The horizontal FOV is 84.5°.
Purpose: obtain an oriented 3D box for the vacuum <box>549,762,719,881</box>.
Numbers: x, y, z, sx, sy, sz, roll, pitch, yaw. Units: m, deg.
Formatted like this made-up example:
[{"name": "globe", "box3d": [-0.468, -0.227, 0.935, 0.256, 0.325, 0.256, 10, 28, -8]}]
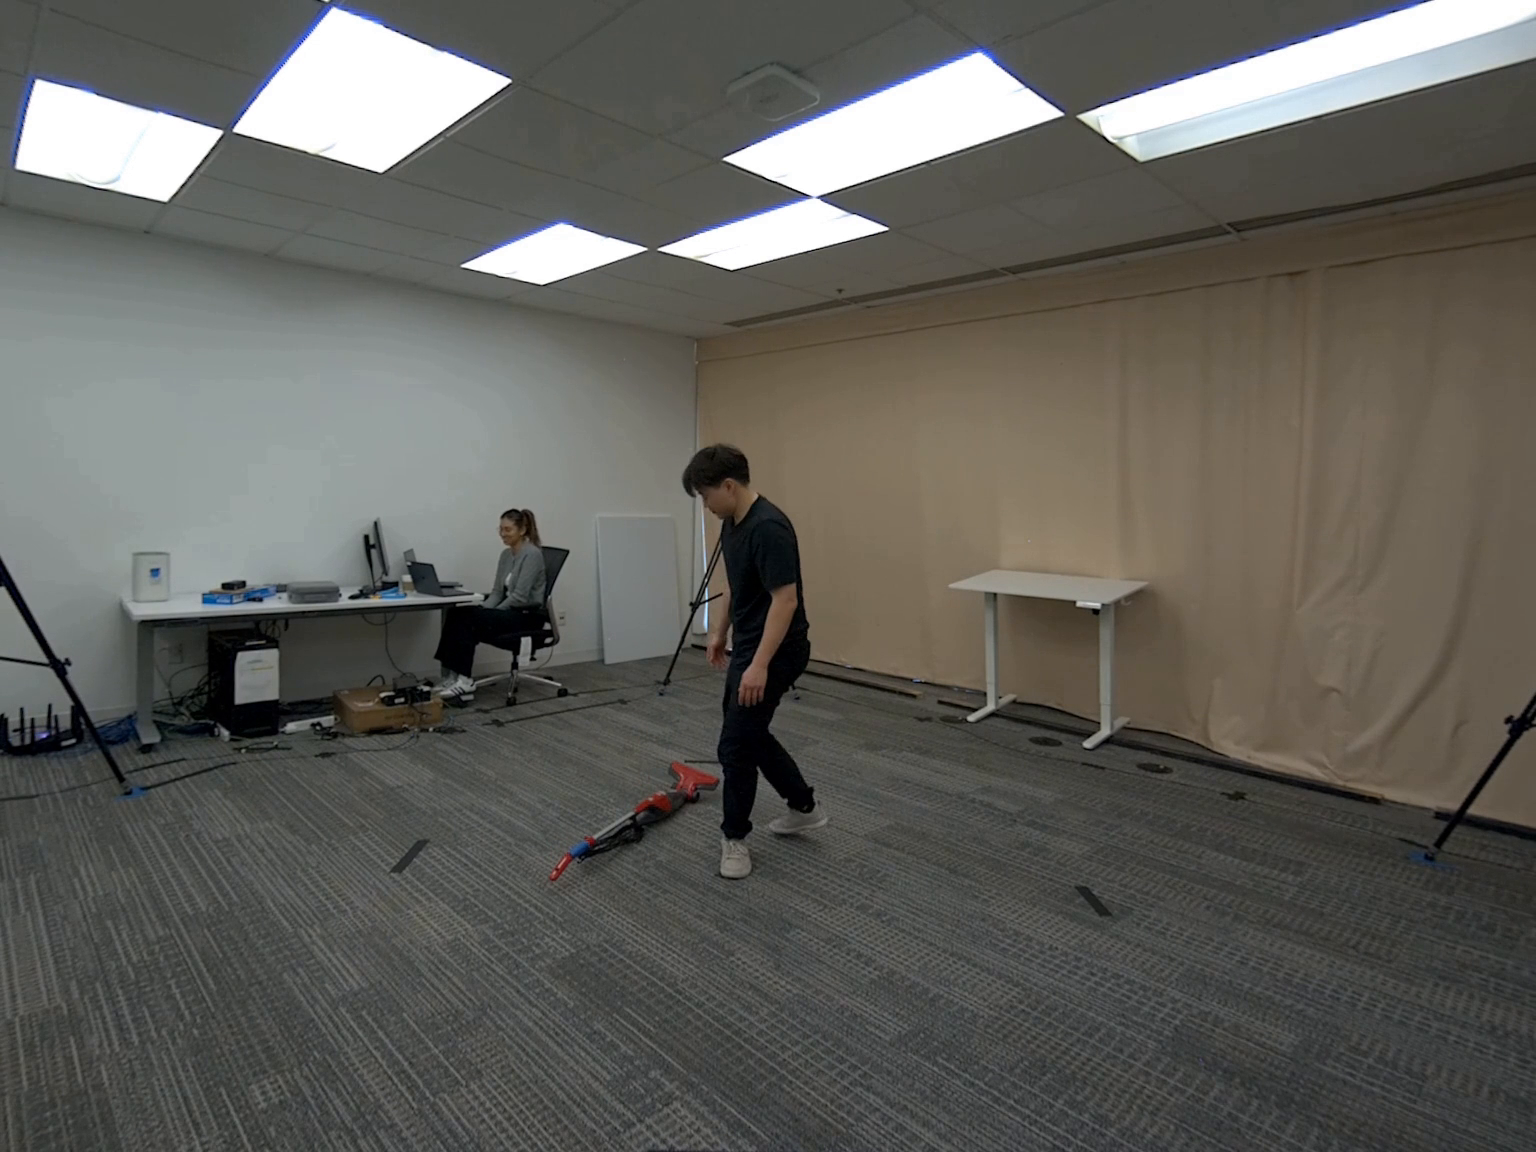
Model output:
[{"name": "vacuum", "box3d": [-0.560, 1.014, 3.416, 0.257, 0.143, 1.034, 14, 10, 20]}]
